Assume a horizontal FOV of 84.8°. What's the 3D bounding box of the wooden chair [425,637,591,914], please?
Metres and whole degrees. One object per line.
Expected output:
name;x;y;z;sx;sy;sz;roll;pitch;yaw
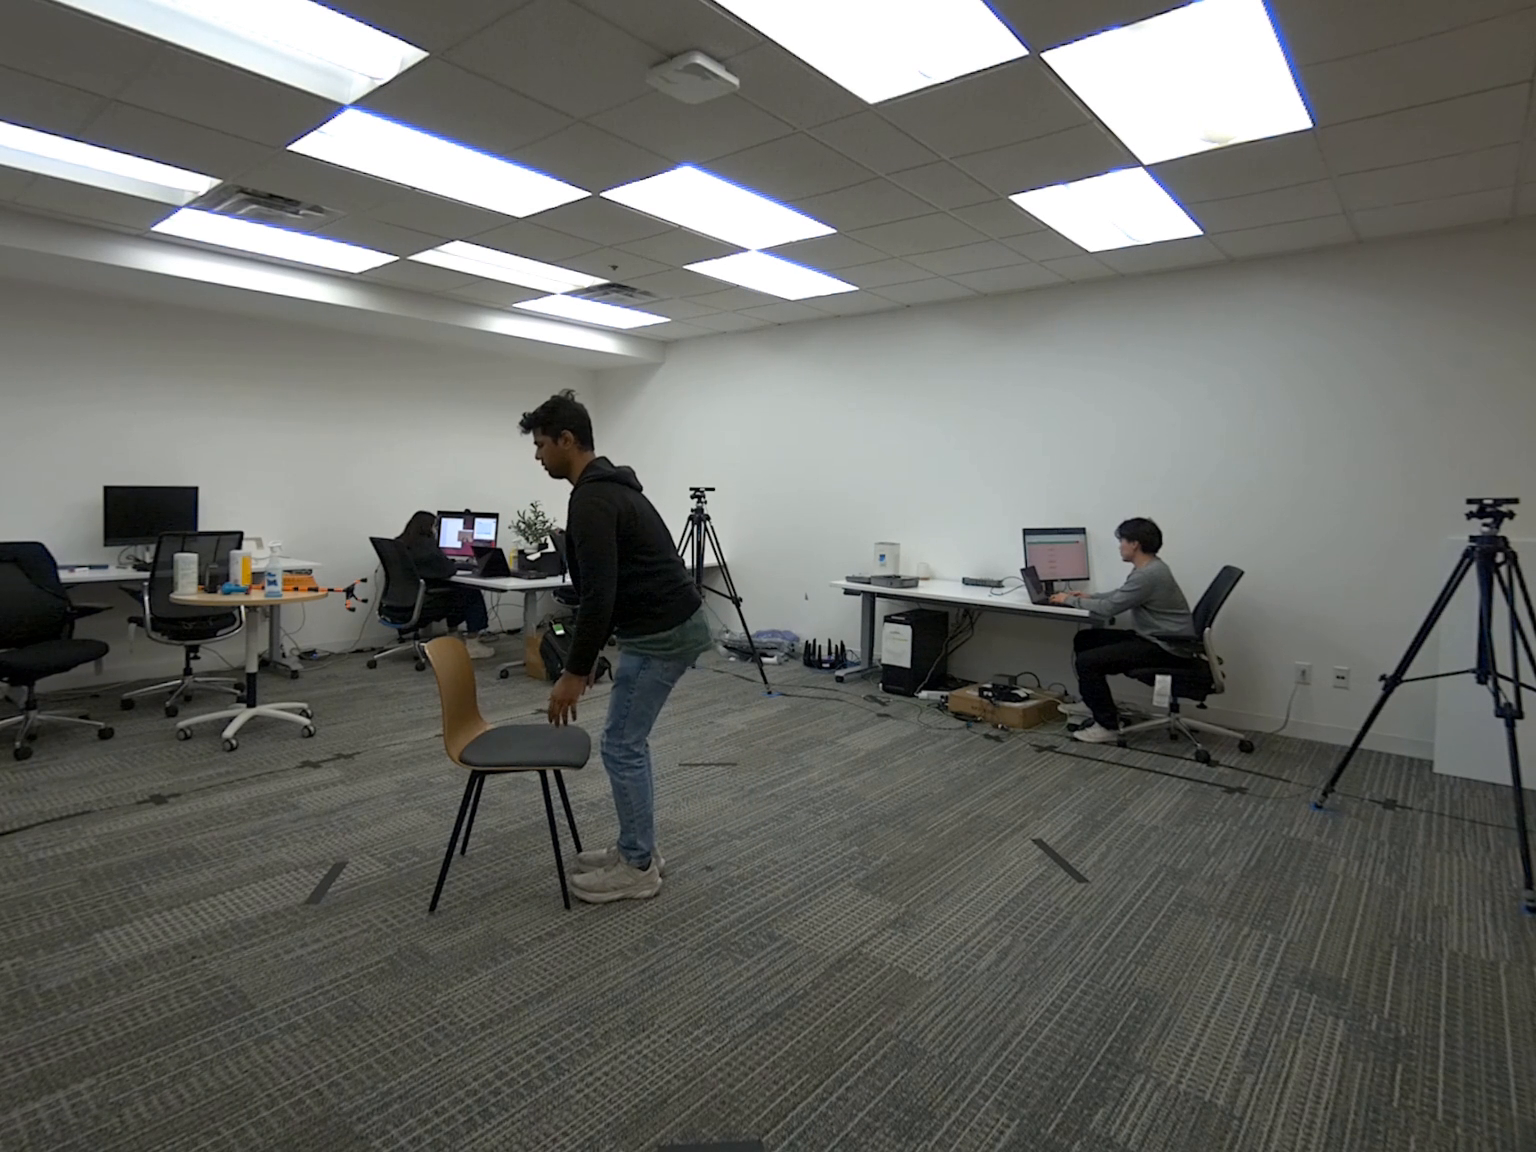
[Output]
wooden chair;-0.898;0.641;2.968;0.520;0.875;0.482;-4;3;-6
